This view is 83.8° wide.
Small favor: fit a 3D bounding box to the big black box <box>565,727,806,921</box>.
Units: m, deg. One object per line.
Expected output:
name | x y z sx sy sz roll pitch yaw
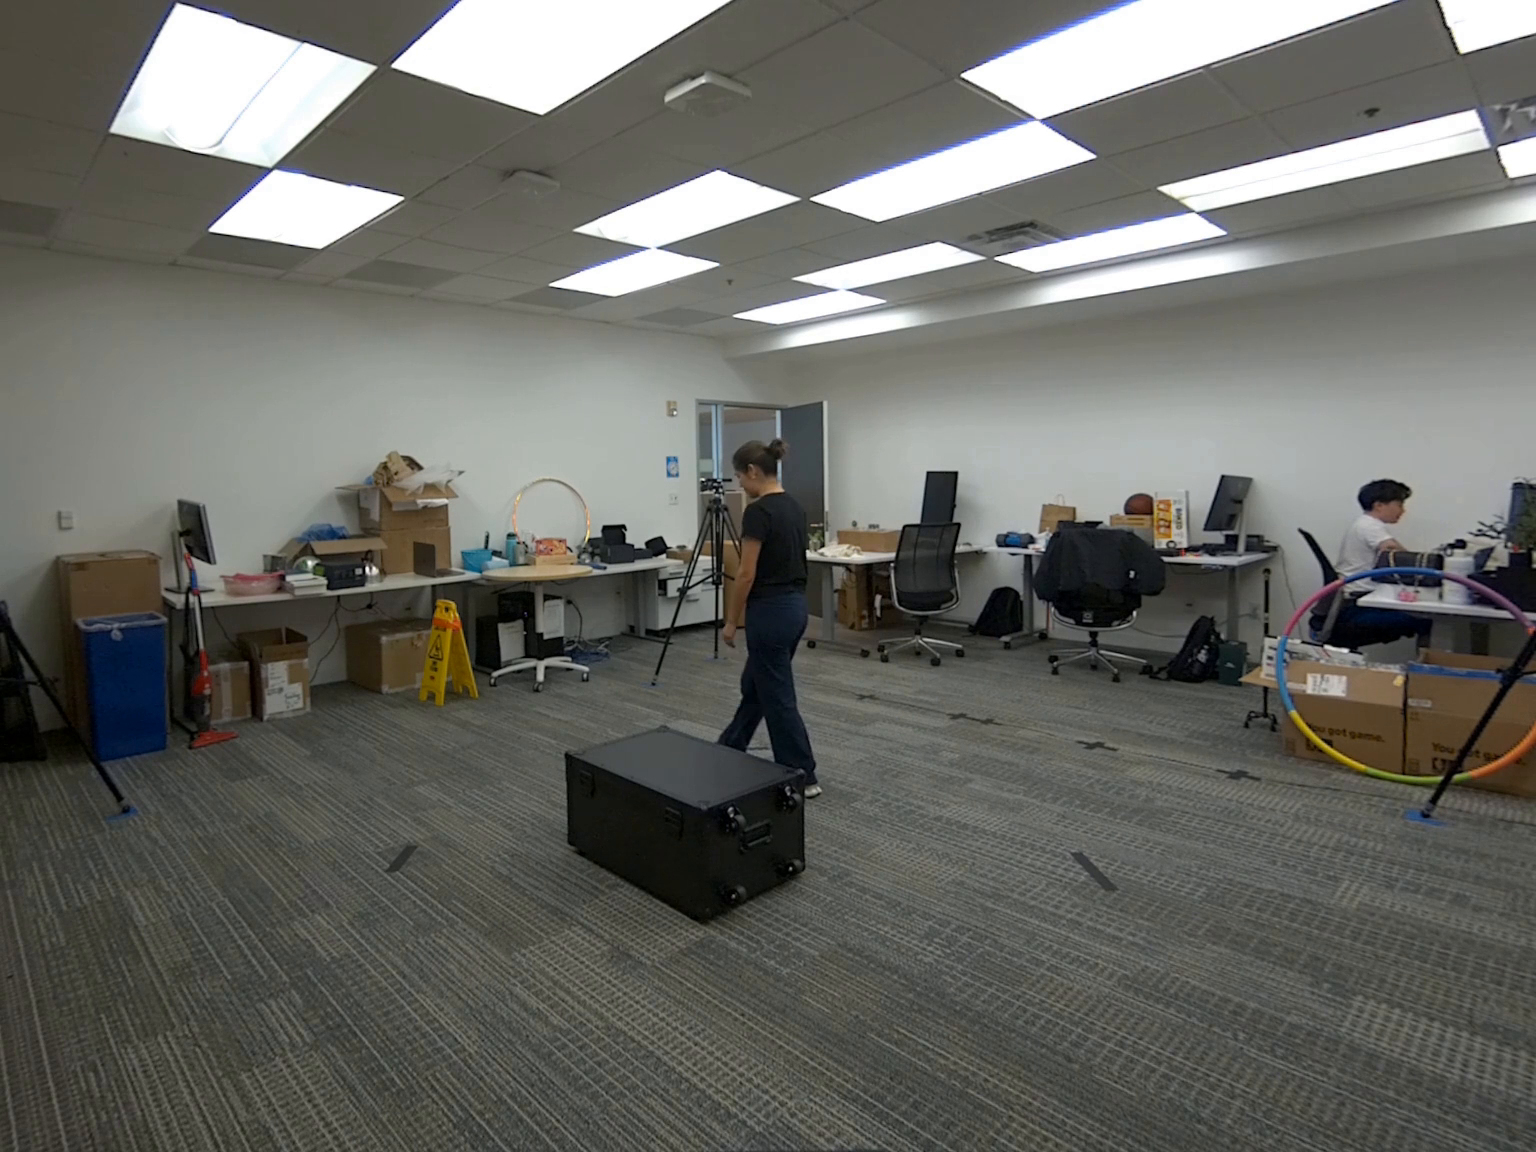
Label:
big black box | -0.297 0.858 3.093 0.508 0.395 0.888 -6 7 -44
